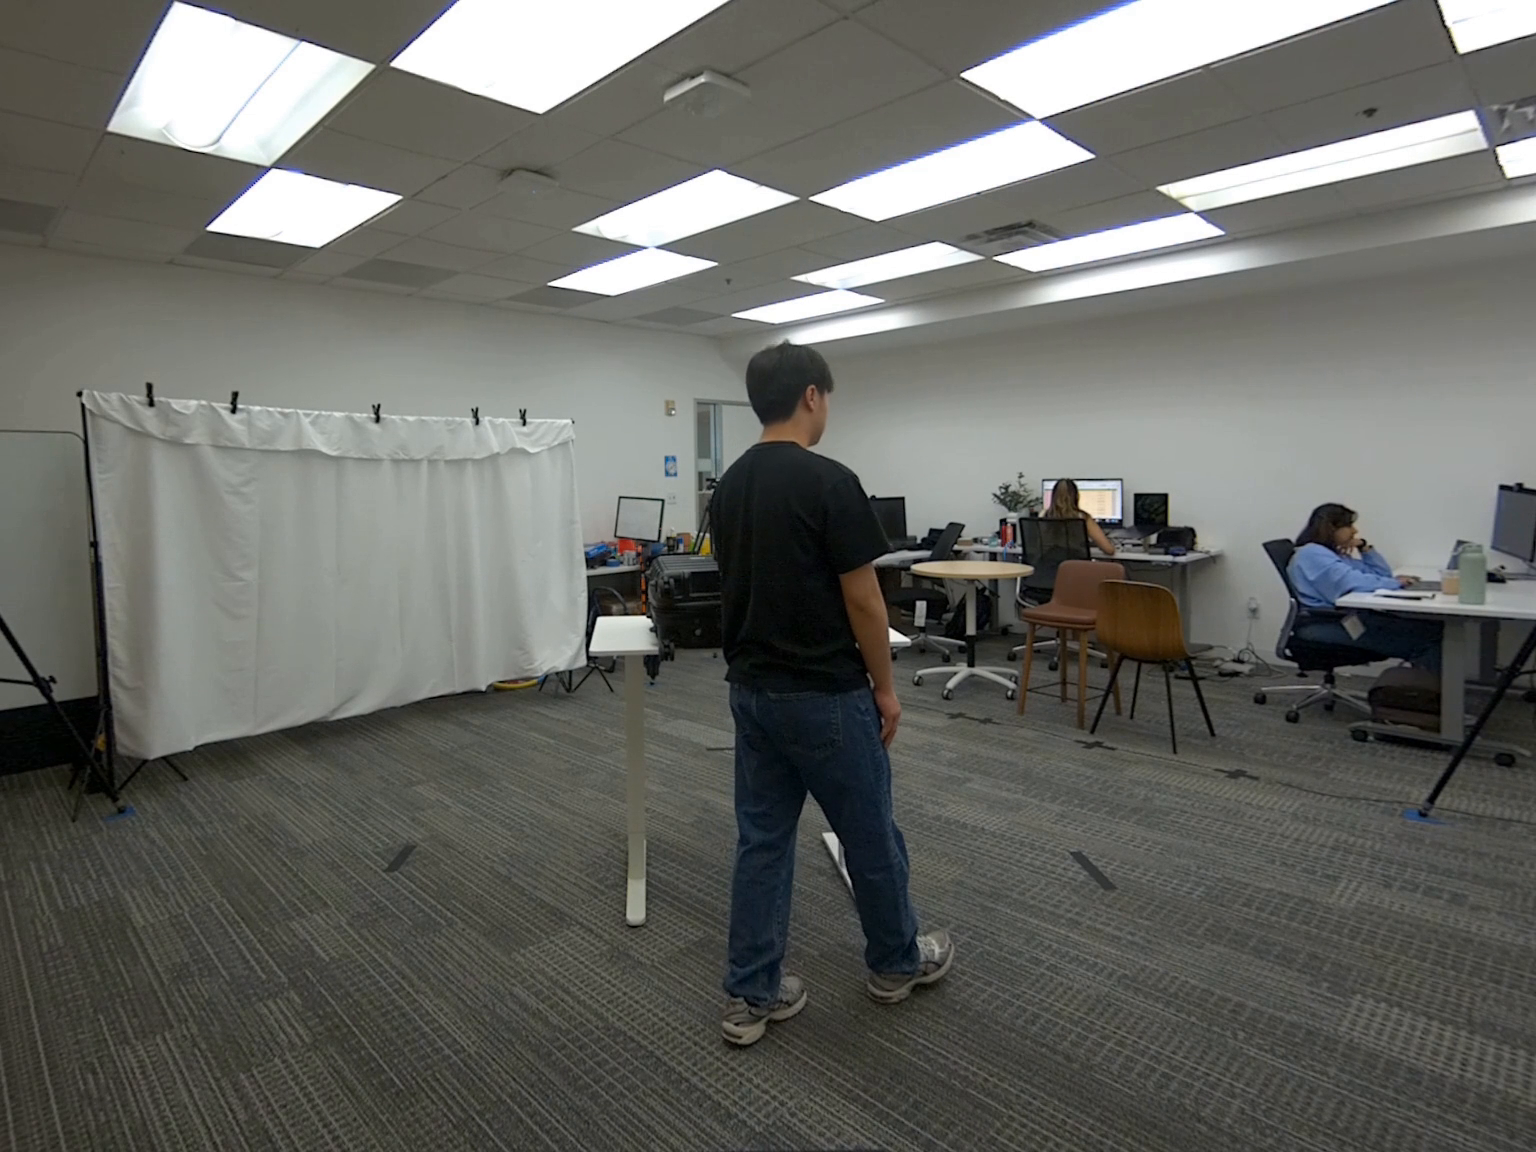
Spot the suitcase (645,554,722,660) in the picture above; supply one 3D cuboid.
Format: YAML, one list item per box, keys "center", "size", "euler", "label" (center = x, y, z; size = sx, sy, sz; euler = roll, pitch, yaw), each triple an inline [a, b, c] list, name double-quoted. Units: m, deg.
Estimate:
- center: [-0.242, 0.047, 2.998]
  size: [0.381, 0.255, 0.993]
  euler: [-3, 9, -10]
  label: "suitcase"
